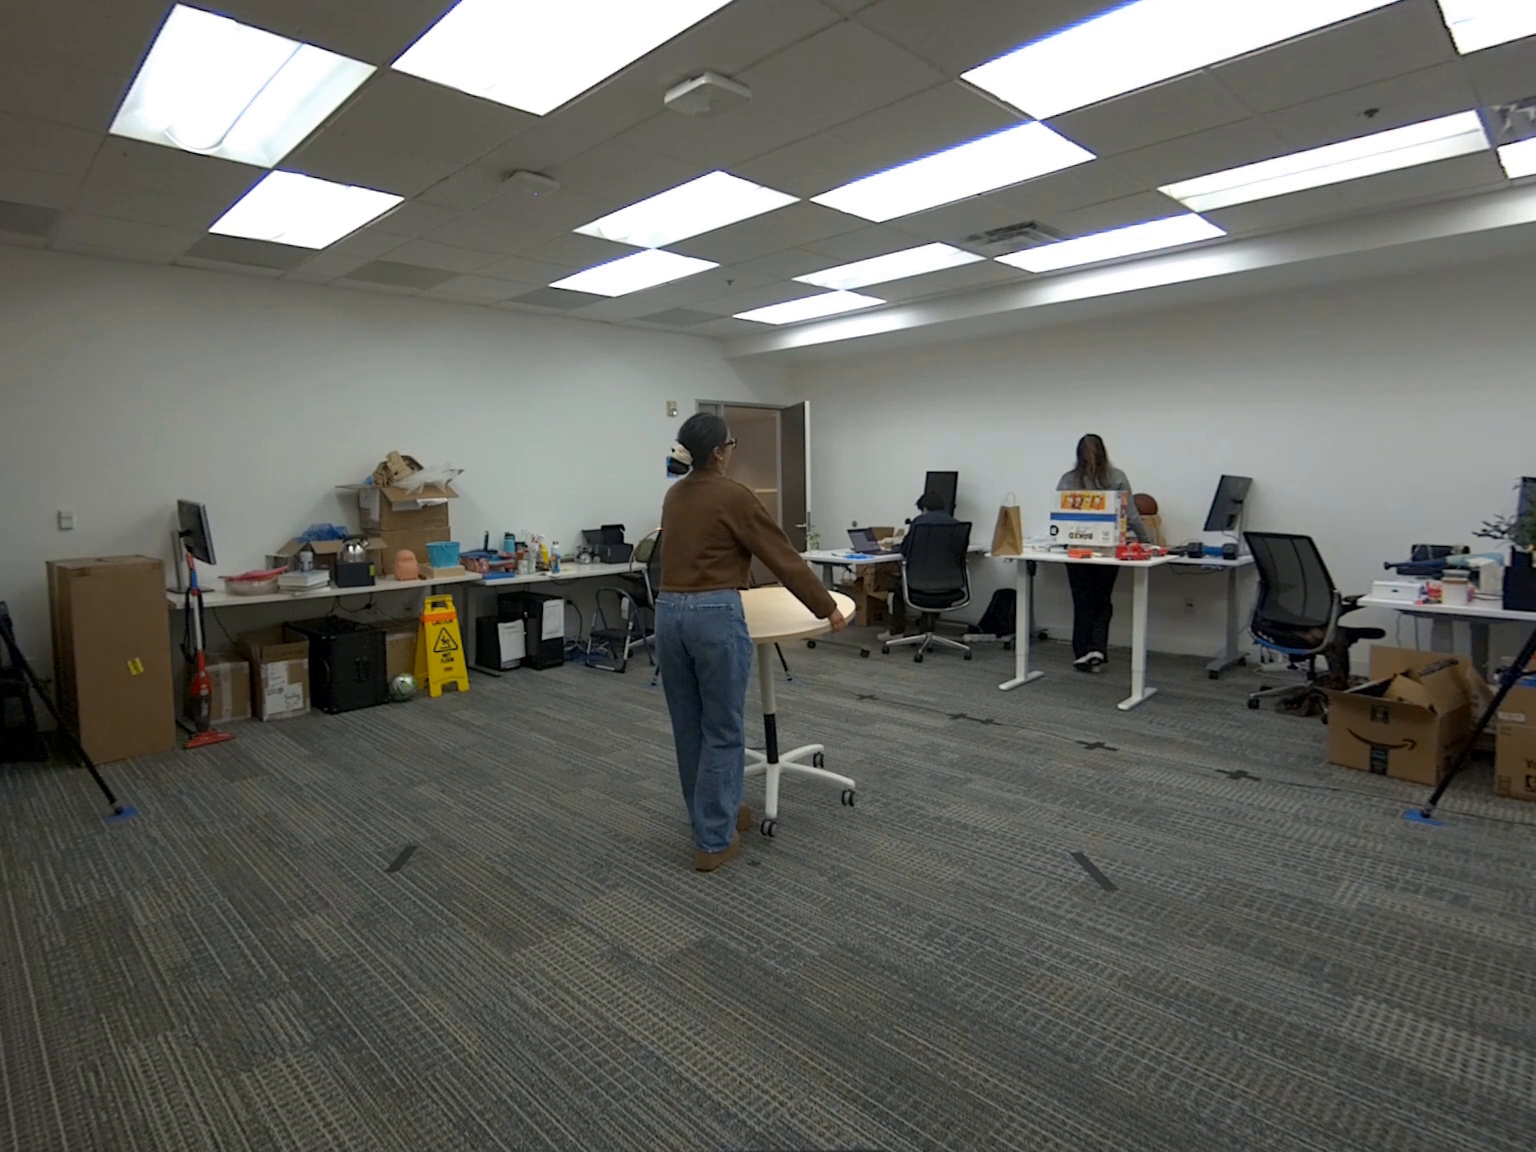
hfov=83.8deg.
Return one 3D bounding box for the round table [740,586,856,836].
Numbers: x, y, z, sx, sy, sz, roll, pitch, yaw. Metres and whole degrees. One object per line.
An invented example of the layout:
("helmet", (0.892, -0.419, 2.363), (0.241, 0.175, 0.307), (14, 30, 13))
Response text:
("round table", (0.002, 0.530, 3.583), (0.785, 0.779, 0.793), (-4, 11, -1))
